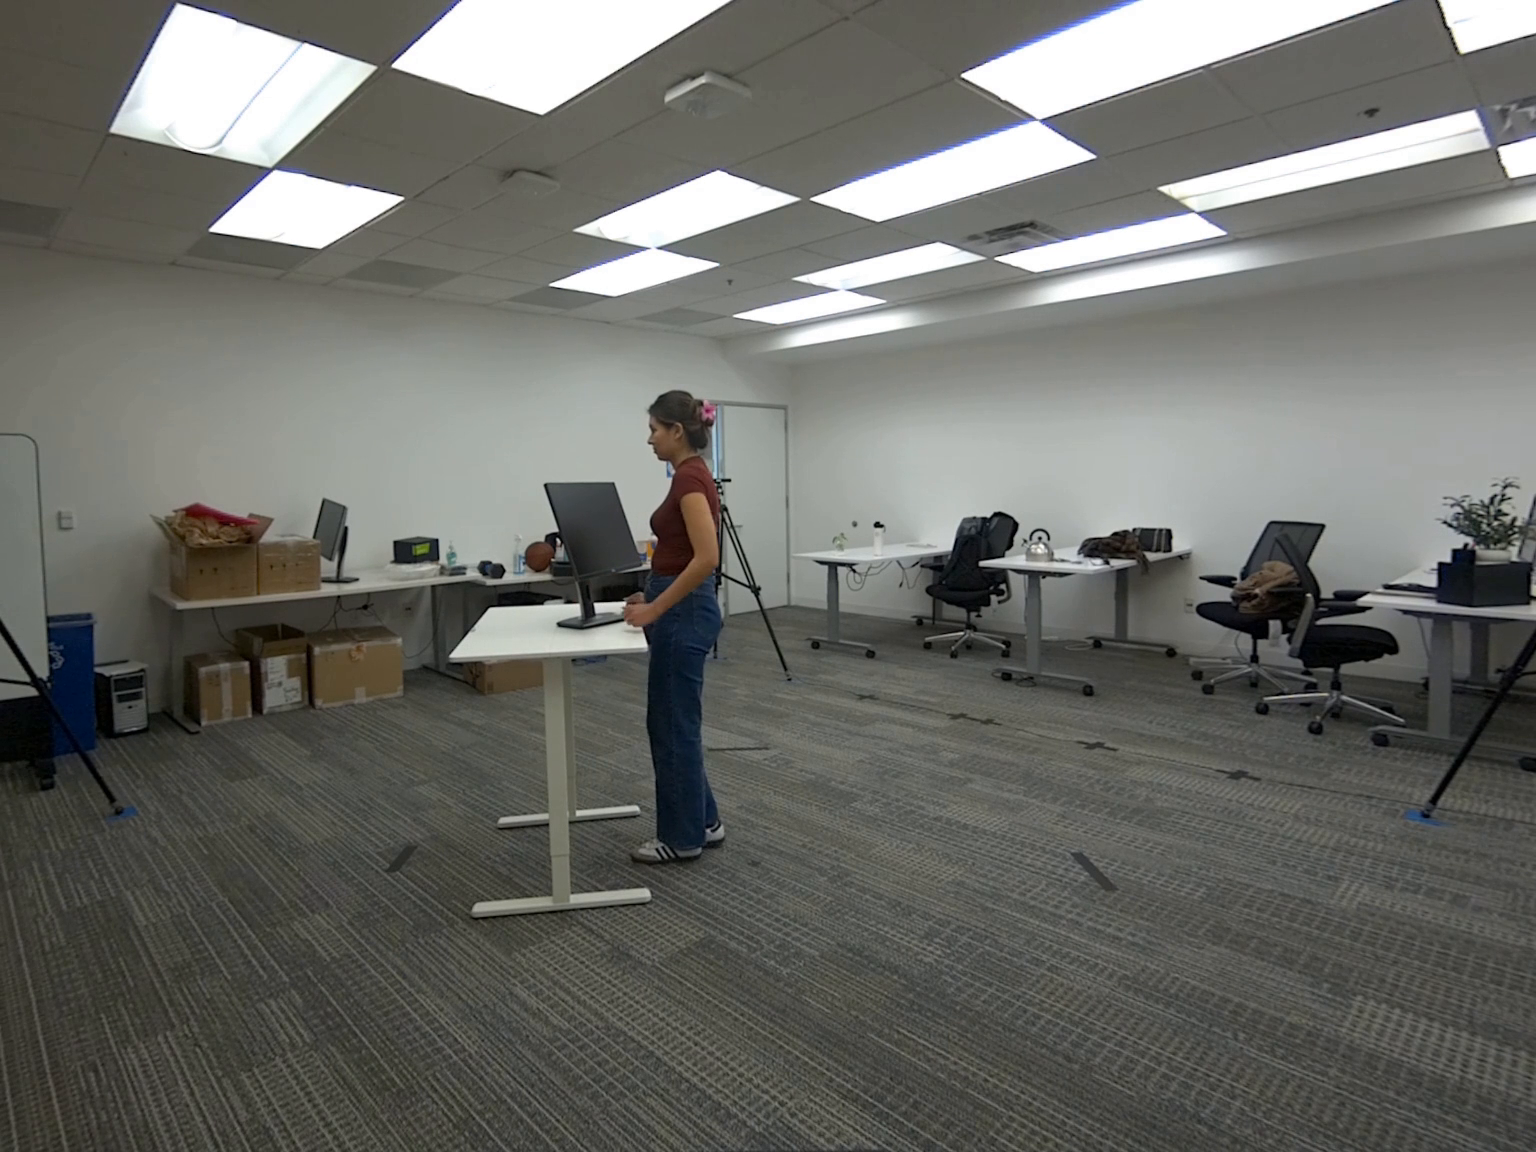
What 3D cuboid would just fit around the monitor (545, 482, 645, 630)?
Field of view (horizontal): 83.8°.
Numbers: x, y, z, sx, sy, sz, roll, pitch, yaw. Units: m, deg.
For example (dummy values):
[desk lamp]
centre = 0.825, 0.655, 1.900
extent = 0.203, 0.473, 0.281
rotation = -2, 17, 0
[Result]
[monitor]
centre = -0.655, -0.084, 3.146
extent = 0.190, 0.521, 0.533
rotation = -4, 3, 14
